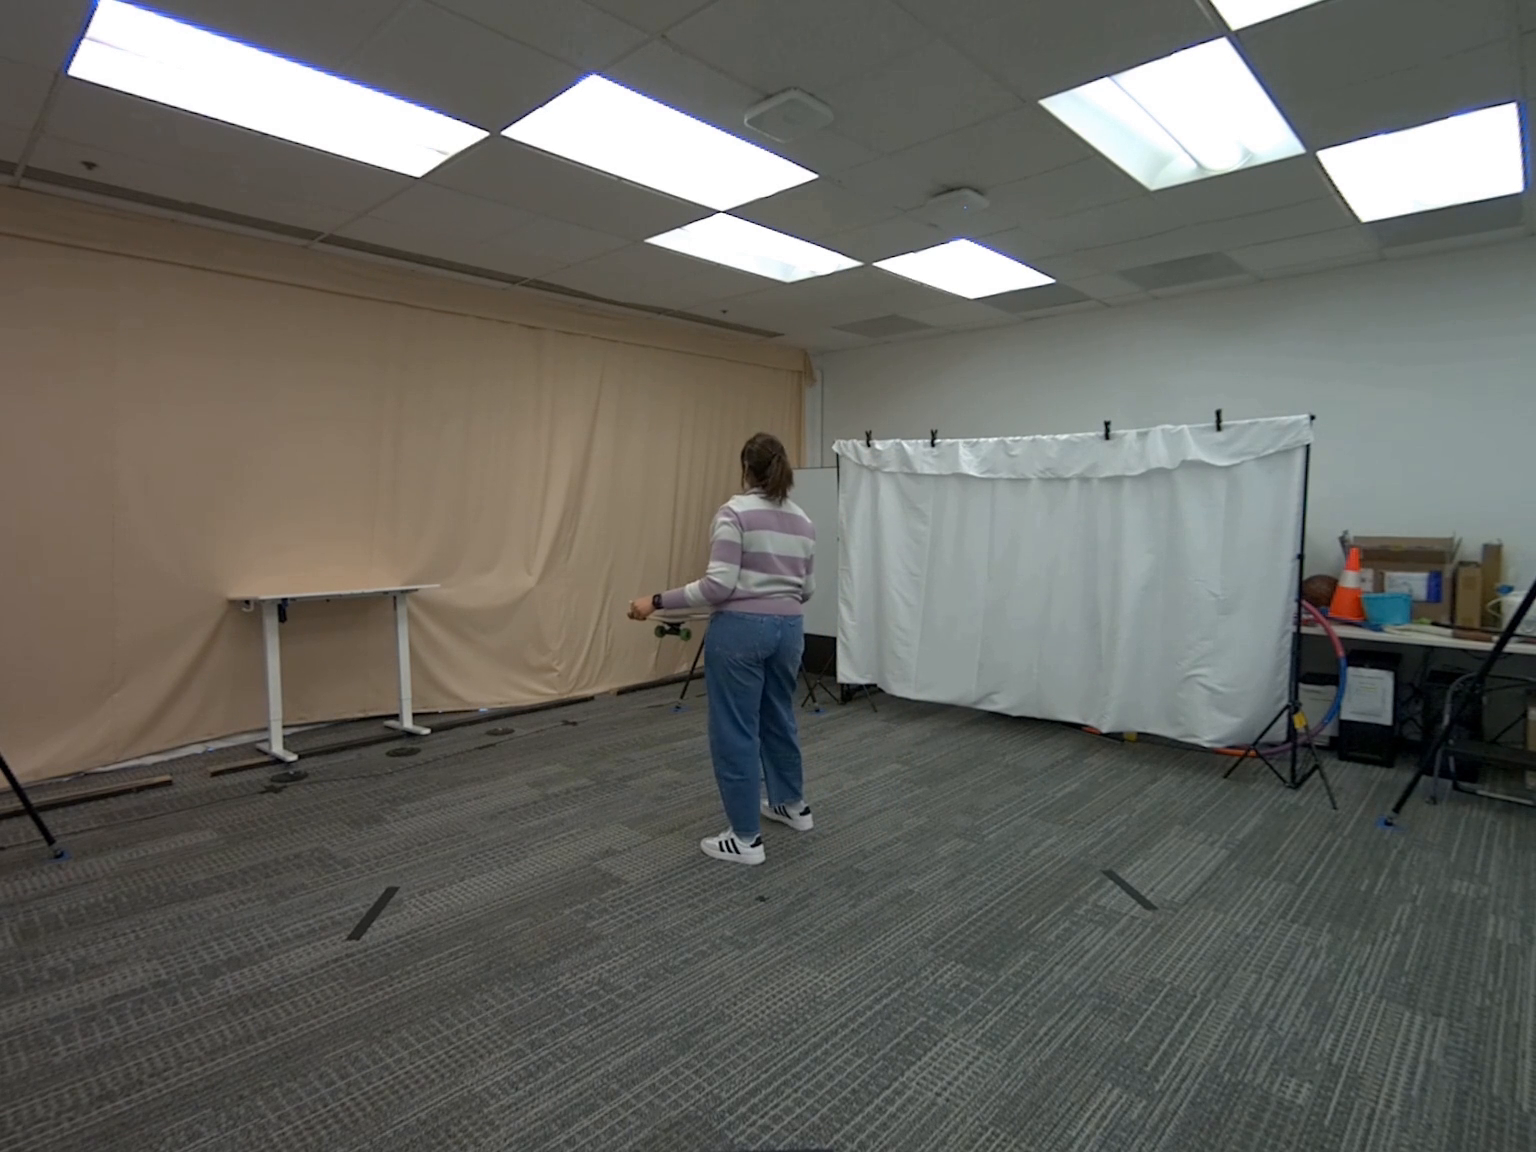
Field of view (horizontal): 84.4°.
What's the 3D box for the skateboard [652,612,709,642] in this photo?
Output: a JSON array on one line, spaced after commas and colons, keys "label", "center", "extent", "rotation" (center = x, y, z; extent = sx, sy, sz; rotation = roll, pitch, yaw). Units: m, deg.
[{"label": "skateboard", "center": [-0.253, 0.196, 3.546], "extent": [0.200, 0.110, 0.760], "rotation": [1, 2, 44]}]
